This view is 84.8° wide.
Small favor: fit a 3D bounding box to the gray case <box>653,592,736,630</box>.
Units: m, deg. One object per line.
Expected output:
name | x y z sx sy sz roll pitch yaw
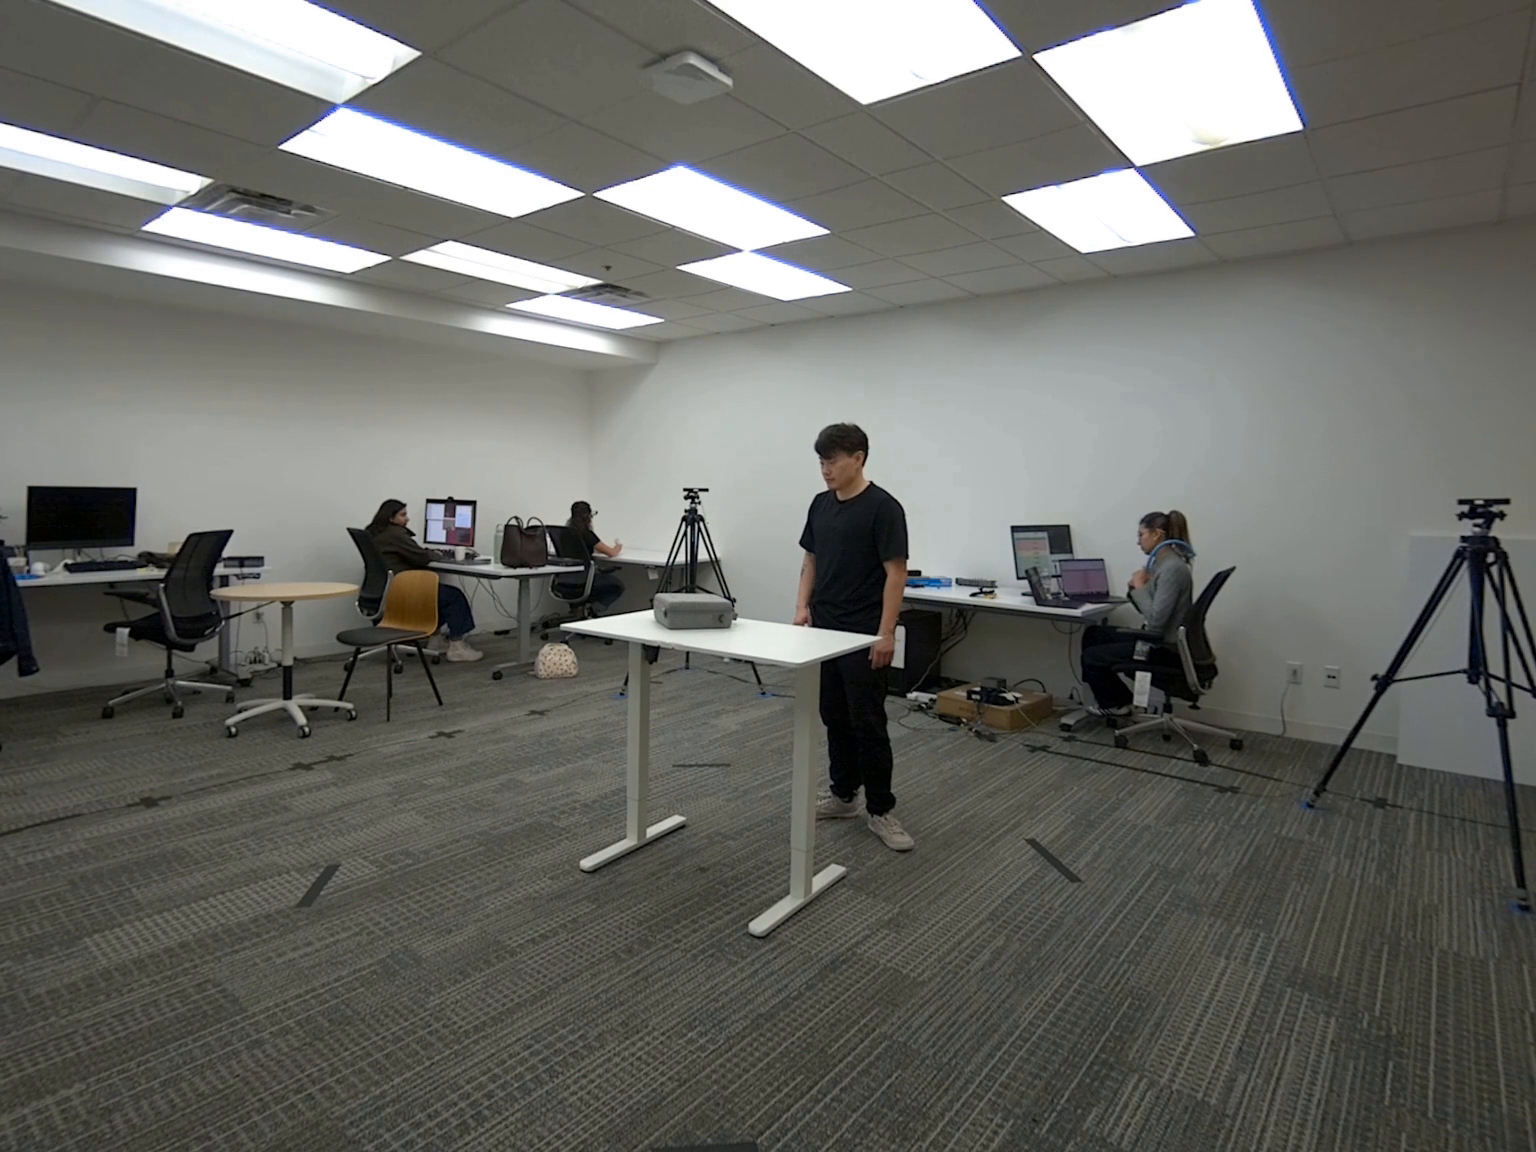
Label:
gray case | -0.290 0.126 3.179 0.256 0.104 0.263 0 4 -19
